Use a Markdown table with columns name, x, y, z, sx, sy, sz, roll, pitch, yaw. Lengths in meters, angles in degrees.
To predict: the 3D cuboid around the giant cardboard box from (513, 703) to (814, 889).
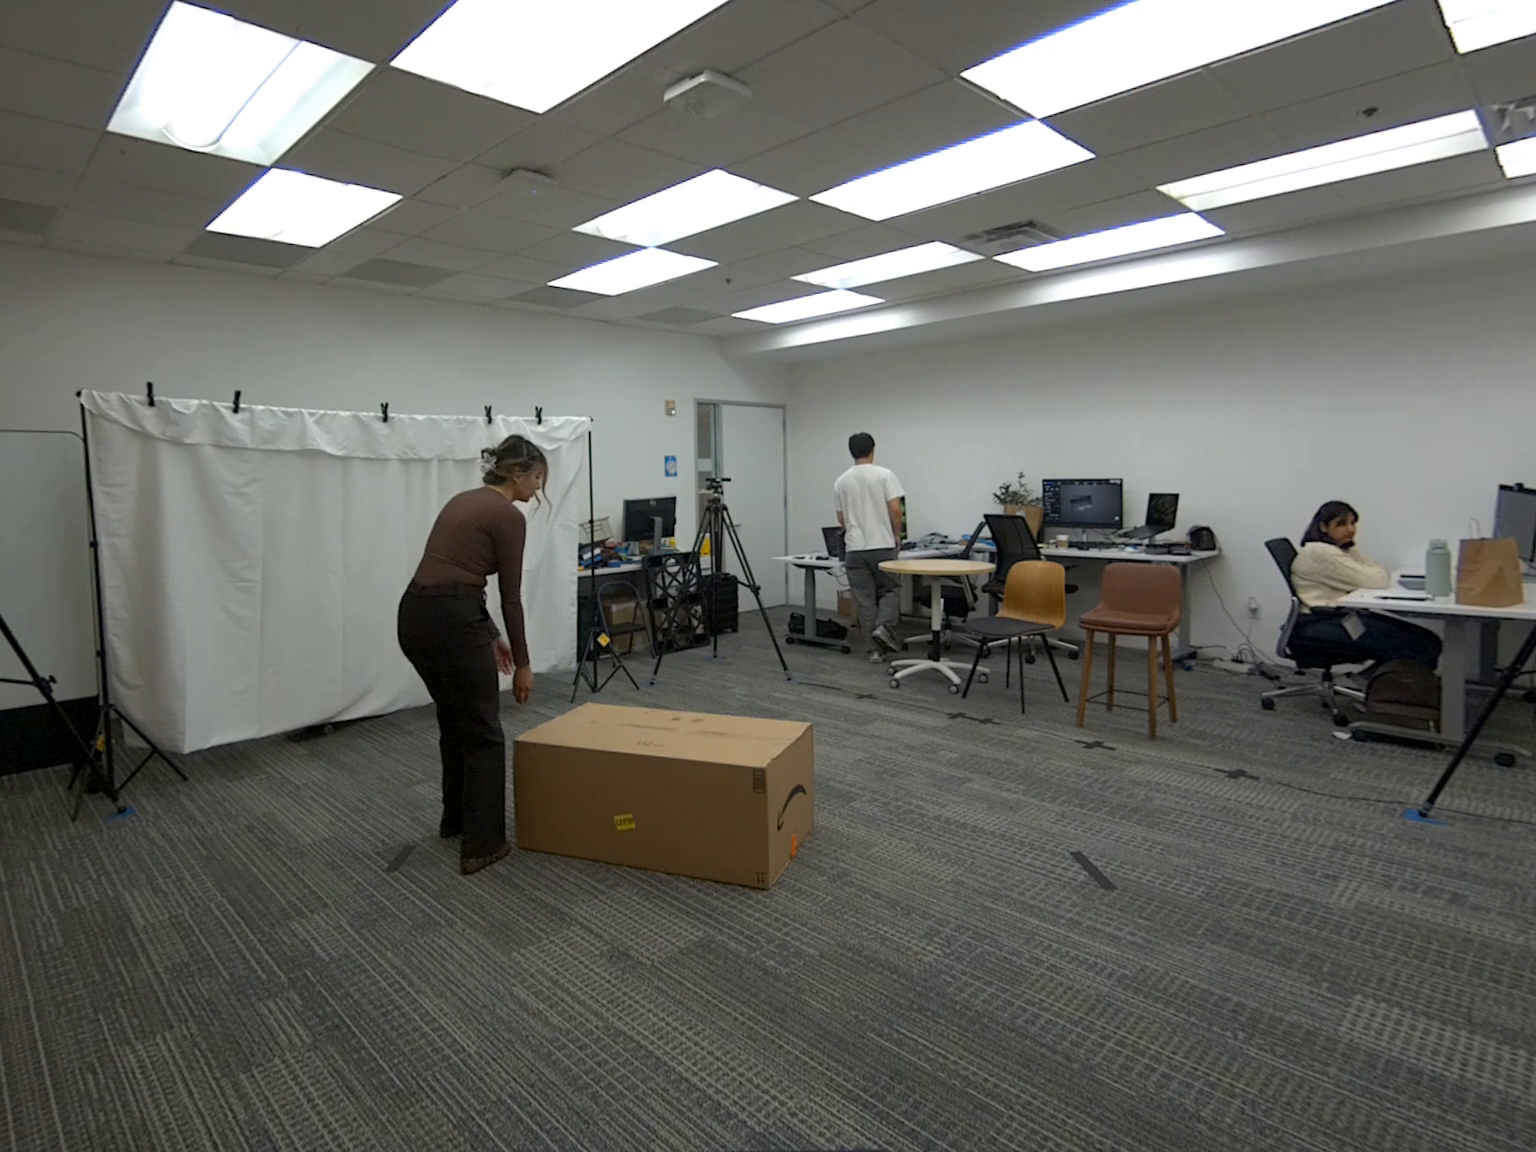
| name | x | y | z | sx | sy | sz | roll | pitch | yaw |
| --- | --- | --- | --- | --- | --- | --- | --- | --- | --- |
| giant cardboard box | -0.391 | 0.809 | 3.327 | 1.047 | 0.445 | 0.575 | 1 | 6 | 21 |
